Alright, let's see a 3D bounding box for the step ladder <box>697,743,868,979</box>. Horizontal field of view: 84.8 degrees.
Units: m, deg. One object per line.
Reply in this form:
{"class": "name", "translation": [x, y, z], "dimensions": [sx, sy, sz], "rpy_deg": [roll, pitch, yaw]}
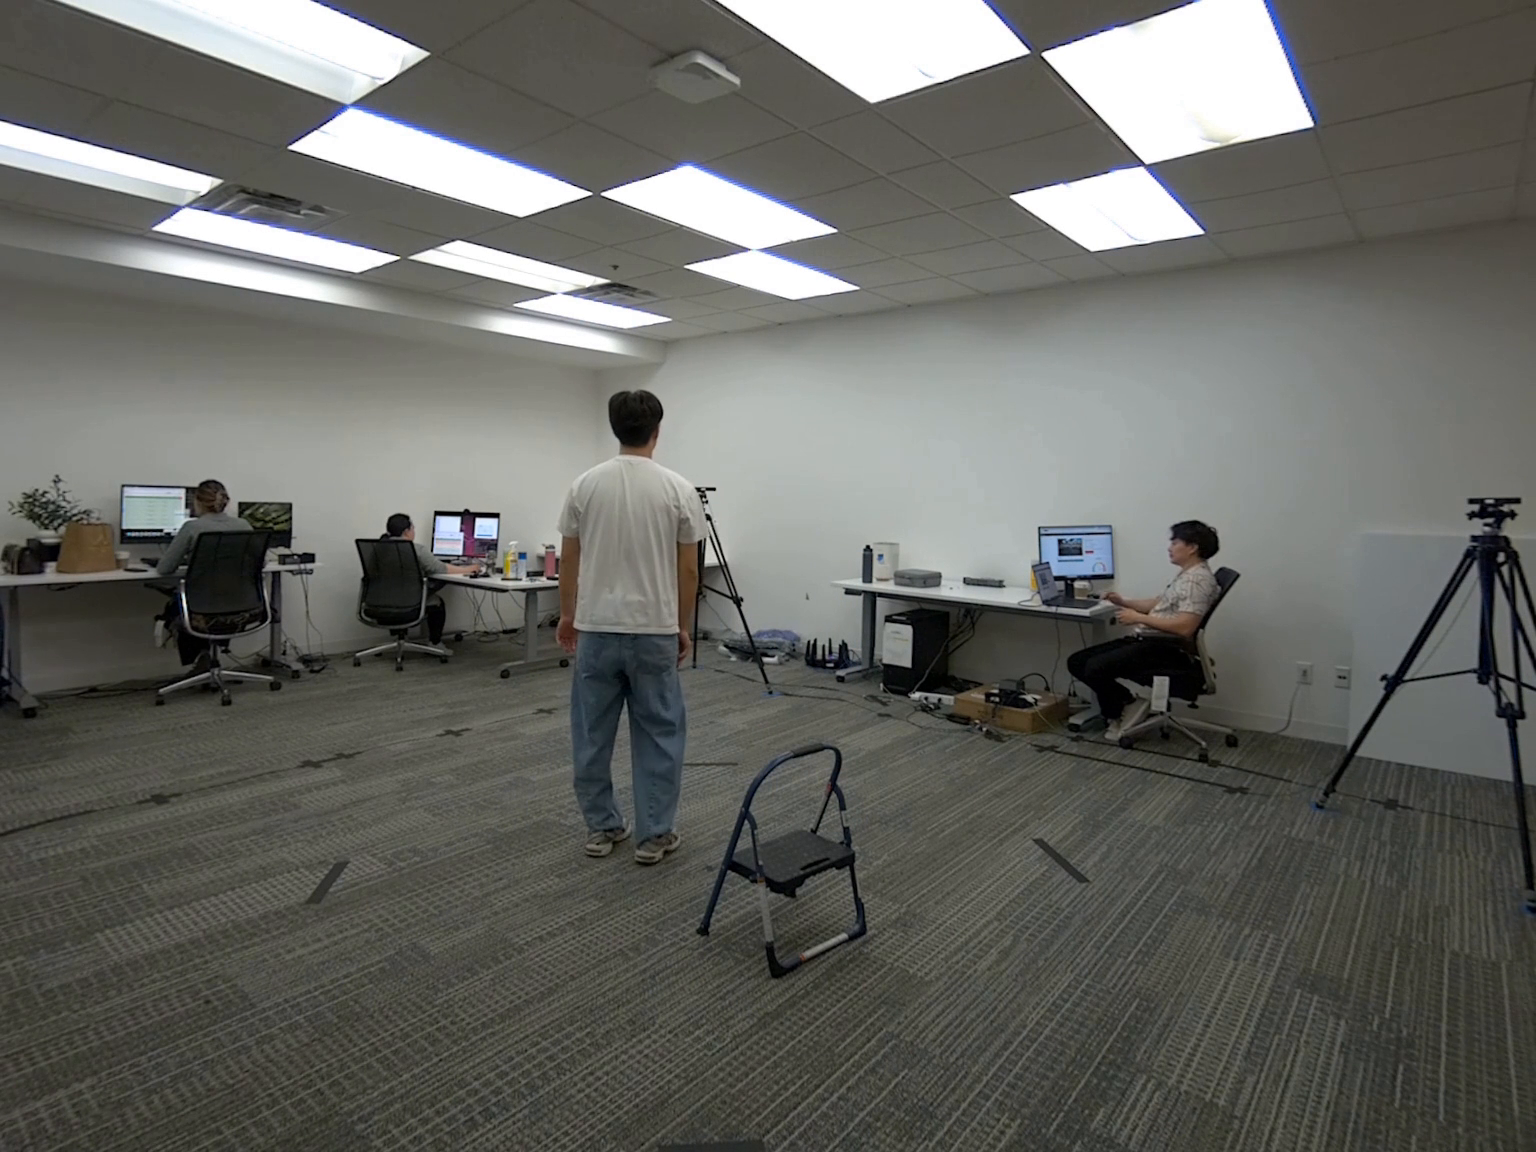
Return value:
{"class": "step ladder", "translation": [0.047, 0.812, 2.653], "dimensions": [0.417, 0.604, 0.361], "rpy_deg": [-2, 5, -44]}
